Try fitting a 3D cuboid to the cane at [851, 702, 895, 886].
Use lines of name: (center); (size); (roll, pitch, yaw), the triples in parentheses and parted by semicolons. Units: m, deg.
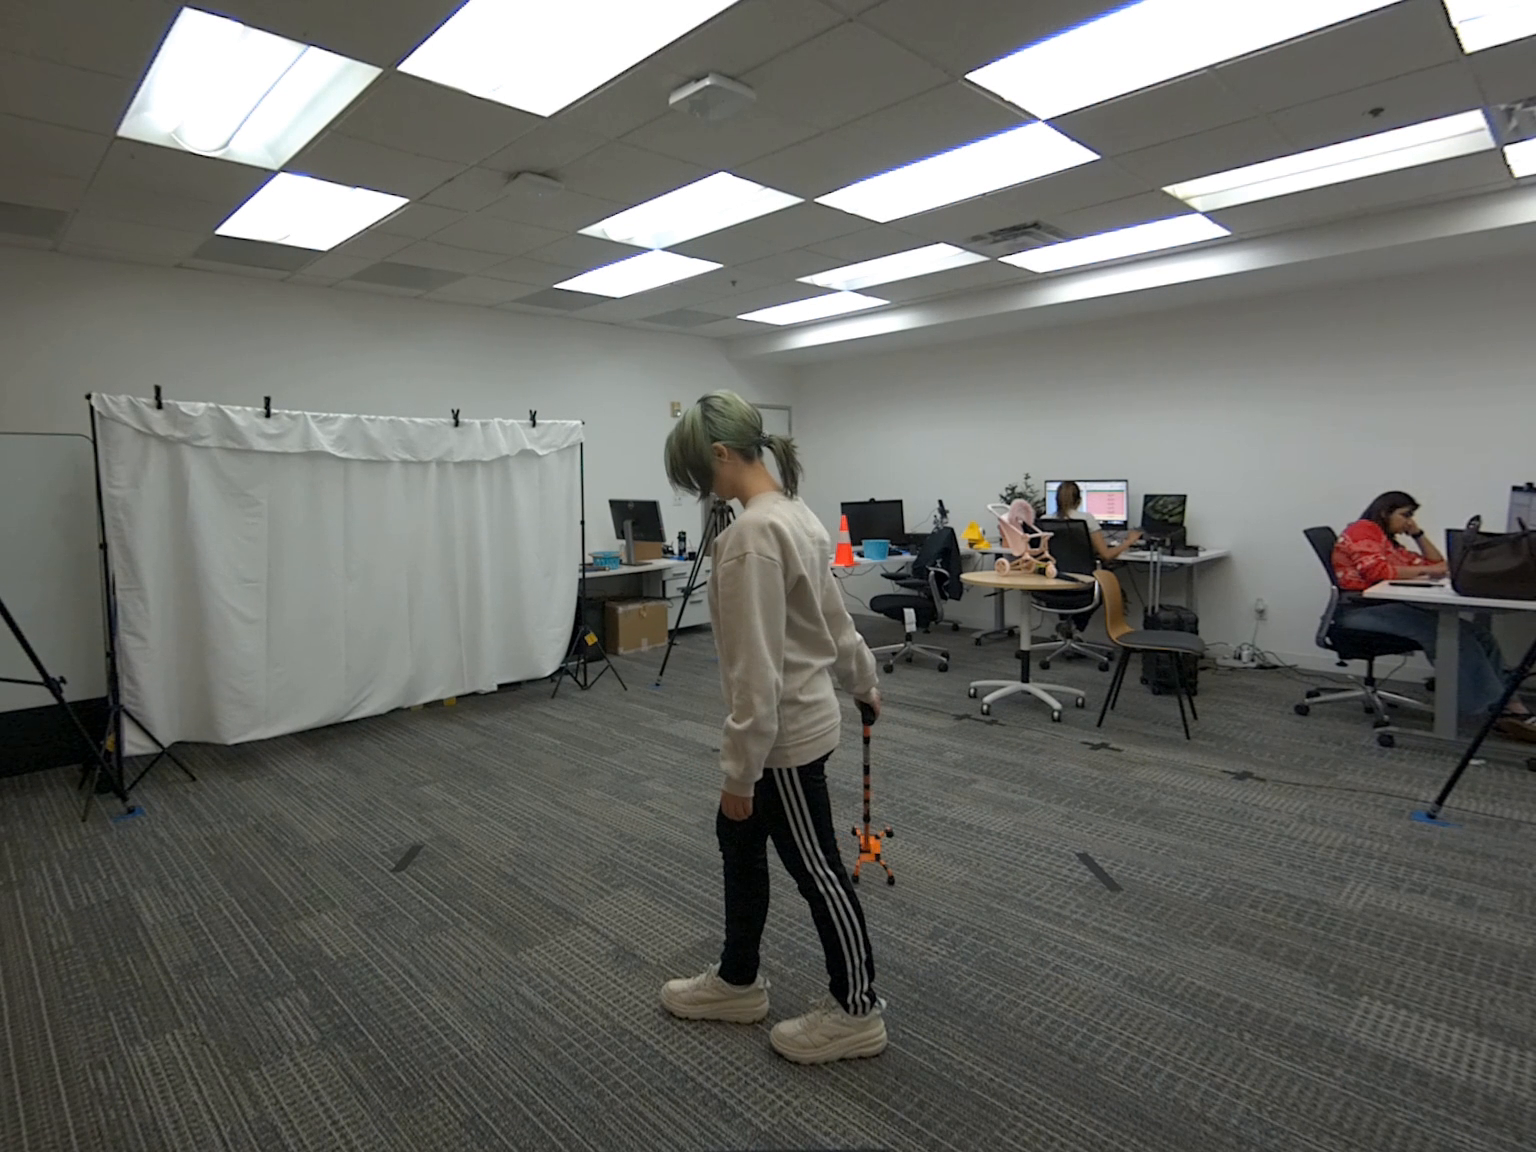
cane: (0.336, 0.663, 2.724); (0.153, 0.881, 0.211); (0, 41, 6)
